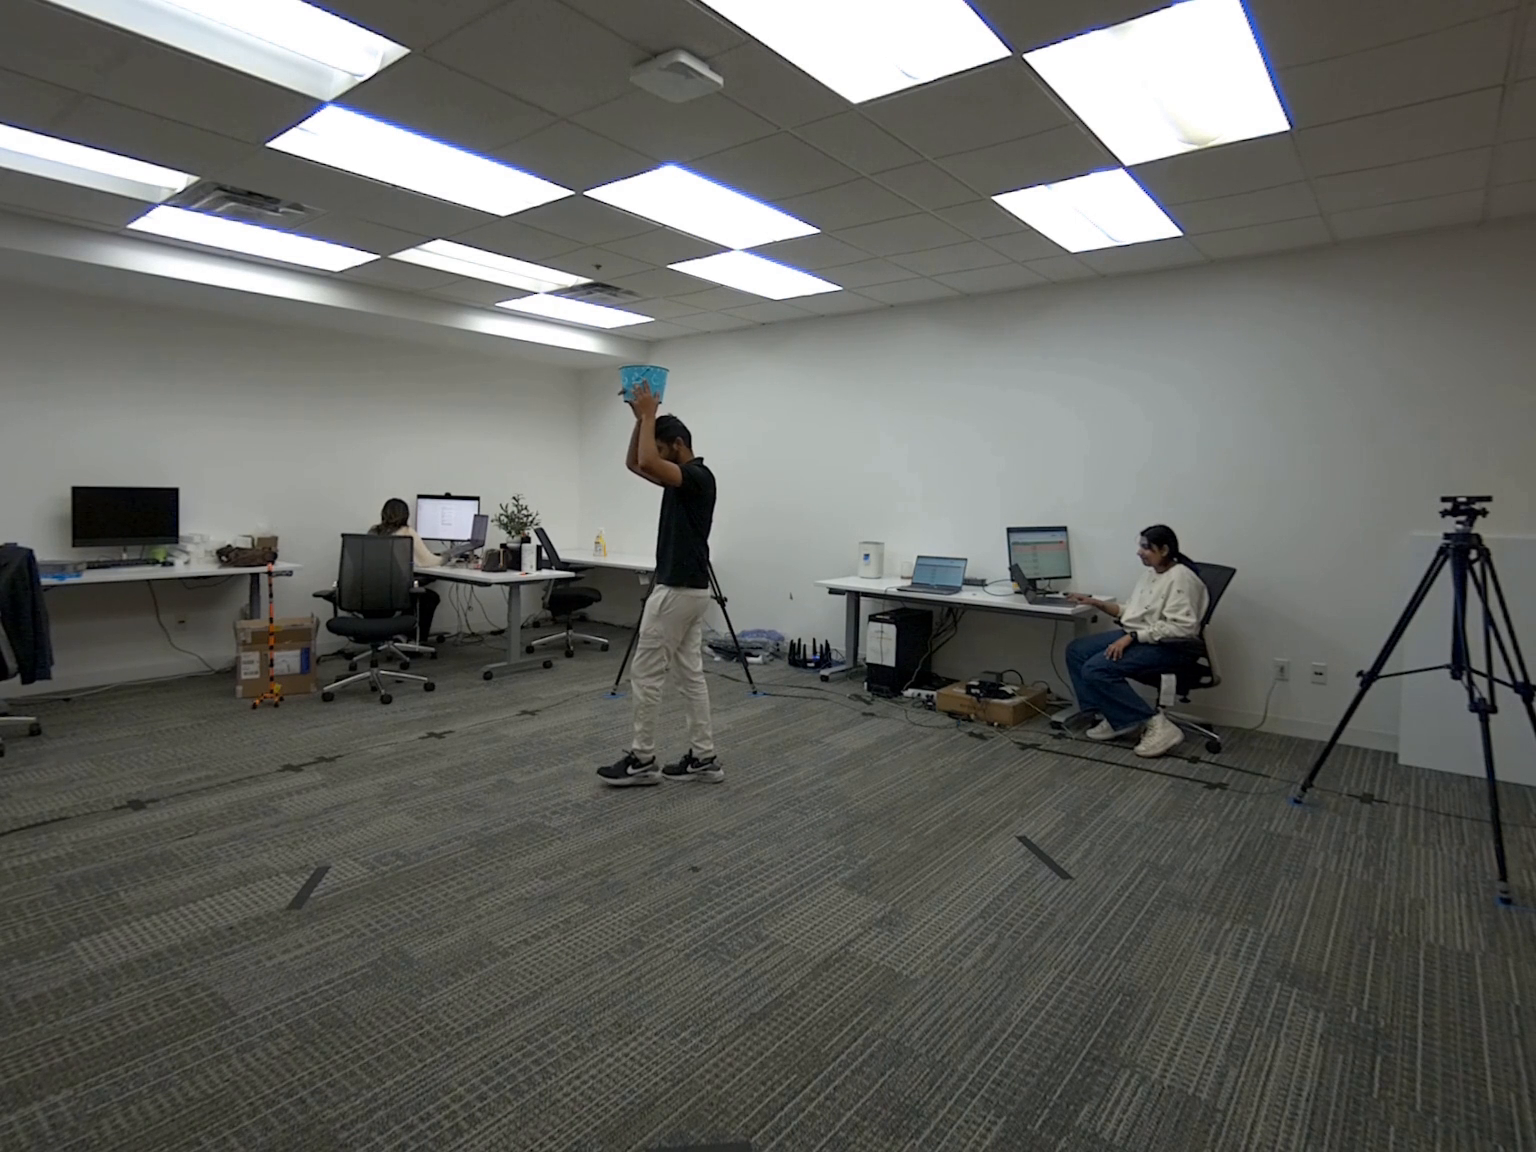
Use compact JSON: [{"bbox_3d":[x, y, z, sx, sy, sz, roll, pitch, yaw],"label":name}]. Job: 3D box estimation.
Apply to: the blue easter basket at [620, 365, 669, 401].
[{"bbox_3d":[-0.600,-0.890,3.958,0.243,0.156,0.244,-1,2,-2],"label":"blue easter basket"}]
